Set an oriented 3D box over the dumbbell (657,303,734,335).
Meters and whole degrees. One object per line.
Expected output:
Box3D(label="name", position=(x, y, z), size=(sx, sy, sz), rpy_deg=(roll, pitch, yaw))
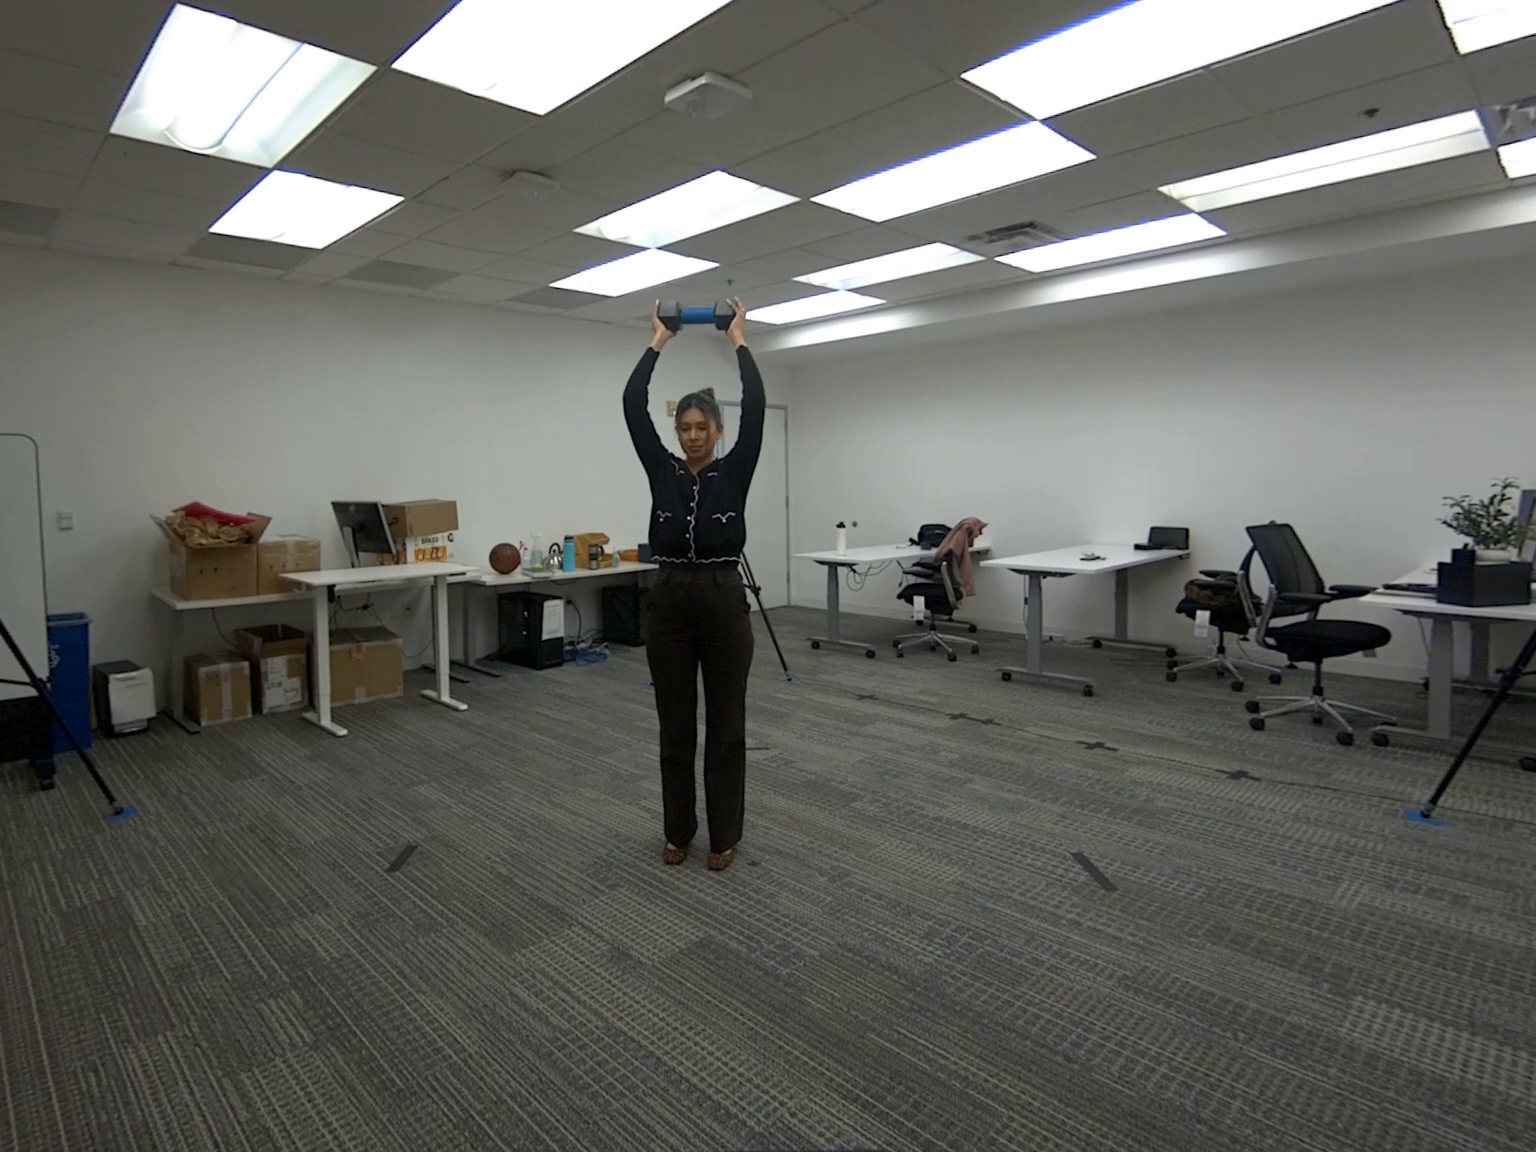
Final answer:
Box3D(label="dumbbell", position=(-0.264, -0.946, 3.121), size=(0.296, 0.107, 0.123), rpy_deg=(0, 15, 9))
